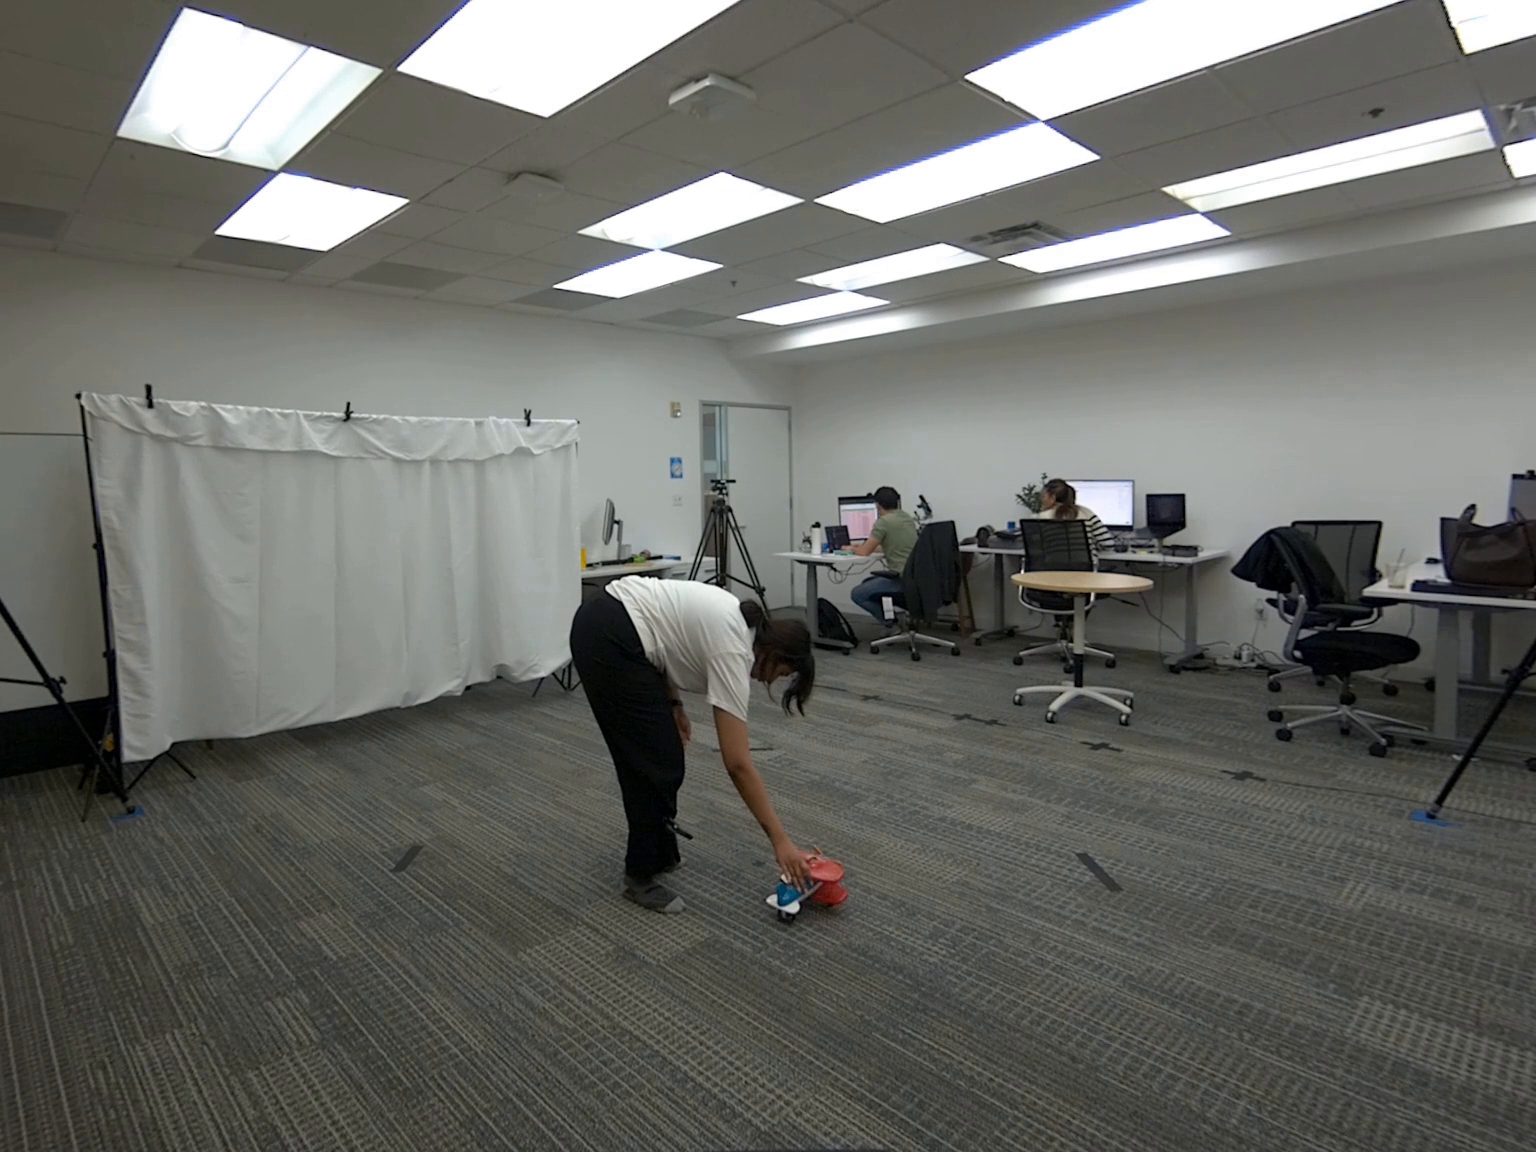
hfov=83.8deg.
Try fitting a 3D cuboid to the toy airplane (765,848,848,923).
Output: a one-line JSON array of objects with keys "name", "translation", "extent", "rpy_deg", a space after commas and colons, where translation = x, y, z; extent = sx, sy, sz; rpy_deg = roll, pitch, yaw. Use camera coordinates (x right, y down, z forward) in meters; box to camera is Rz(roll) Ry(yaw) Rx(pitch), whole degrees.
[{"name": "toy airplane", "translation": [0.142, 1.009, 2.755], "extent": [0.255, 0.156, 0.256], "rpy_deg": [0, 4, 14]}]
